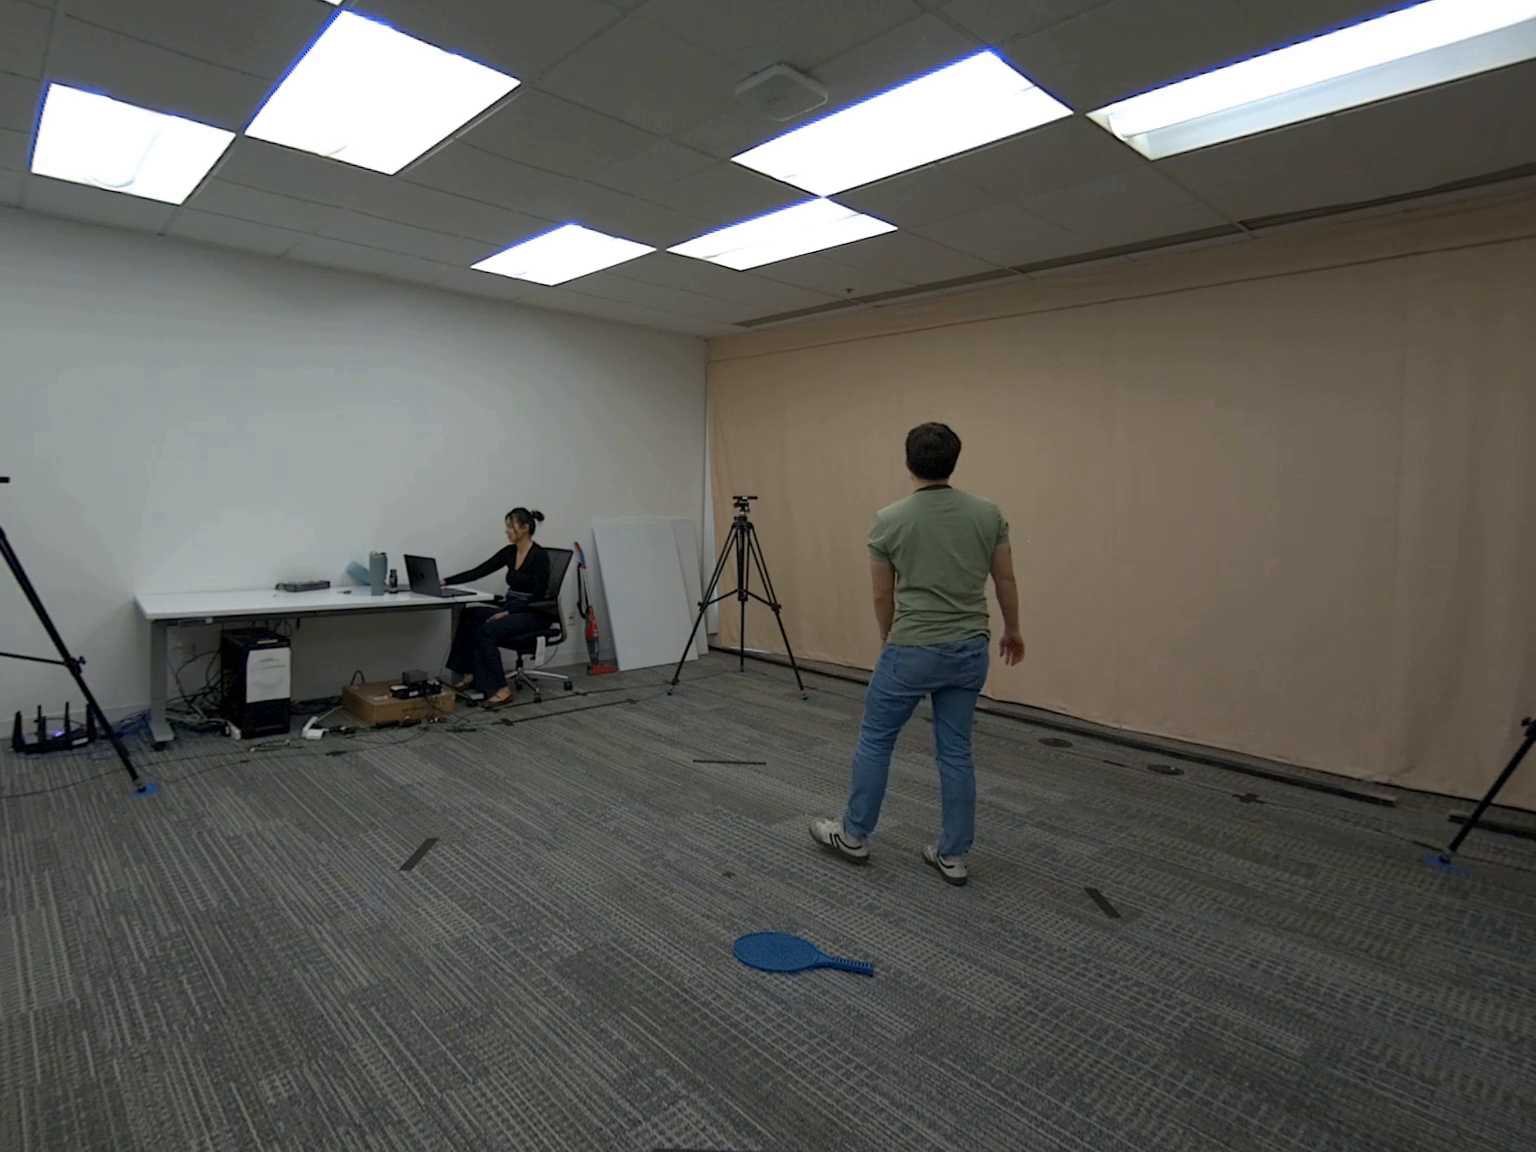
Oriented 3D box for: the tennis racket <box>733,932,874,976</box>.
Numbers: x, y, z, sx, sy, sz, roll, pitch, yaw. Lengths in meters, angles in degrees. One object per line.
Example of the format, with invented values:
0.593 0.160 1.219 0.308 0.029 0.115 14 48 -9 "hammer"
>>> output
0.093 1.147 2.539 0.440 0.031 0.211 2 6 20 "tennis racket"
